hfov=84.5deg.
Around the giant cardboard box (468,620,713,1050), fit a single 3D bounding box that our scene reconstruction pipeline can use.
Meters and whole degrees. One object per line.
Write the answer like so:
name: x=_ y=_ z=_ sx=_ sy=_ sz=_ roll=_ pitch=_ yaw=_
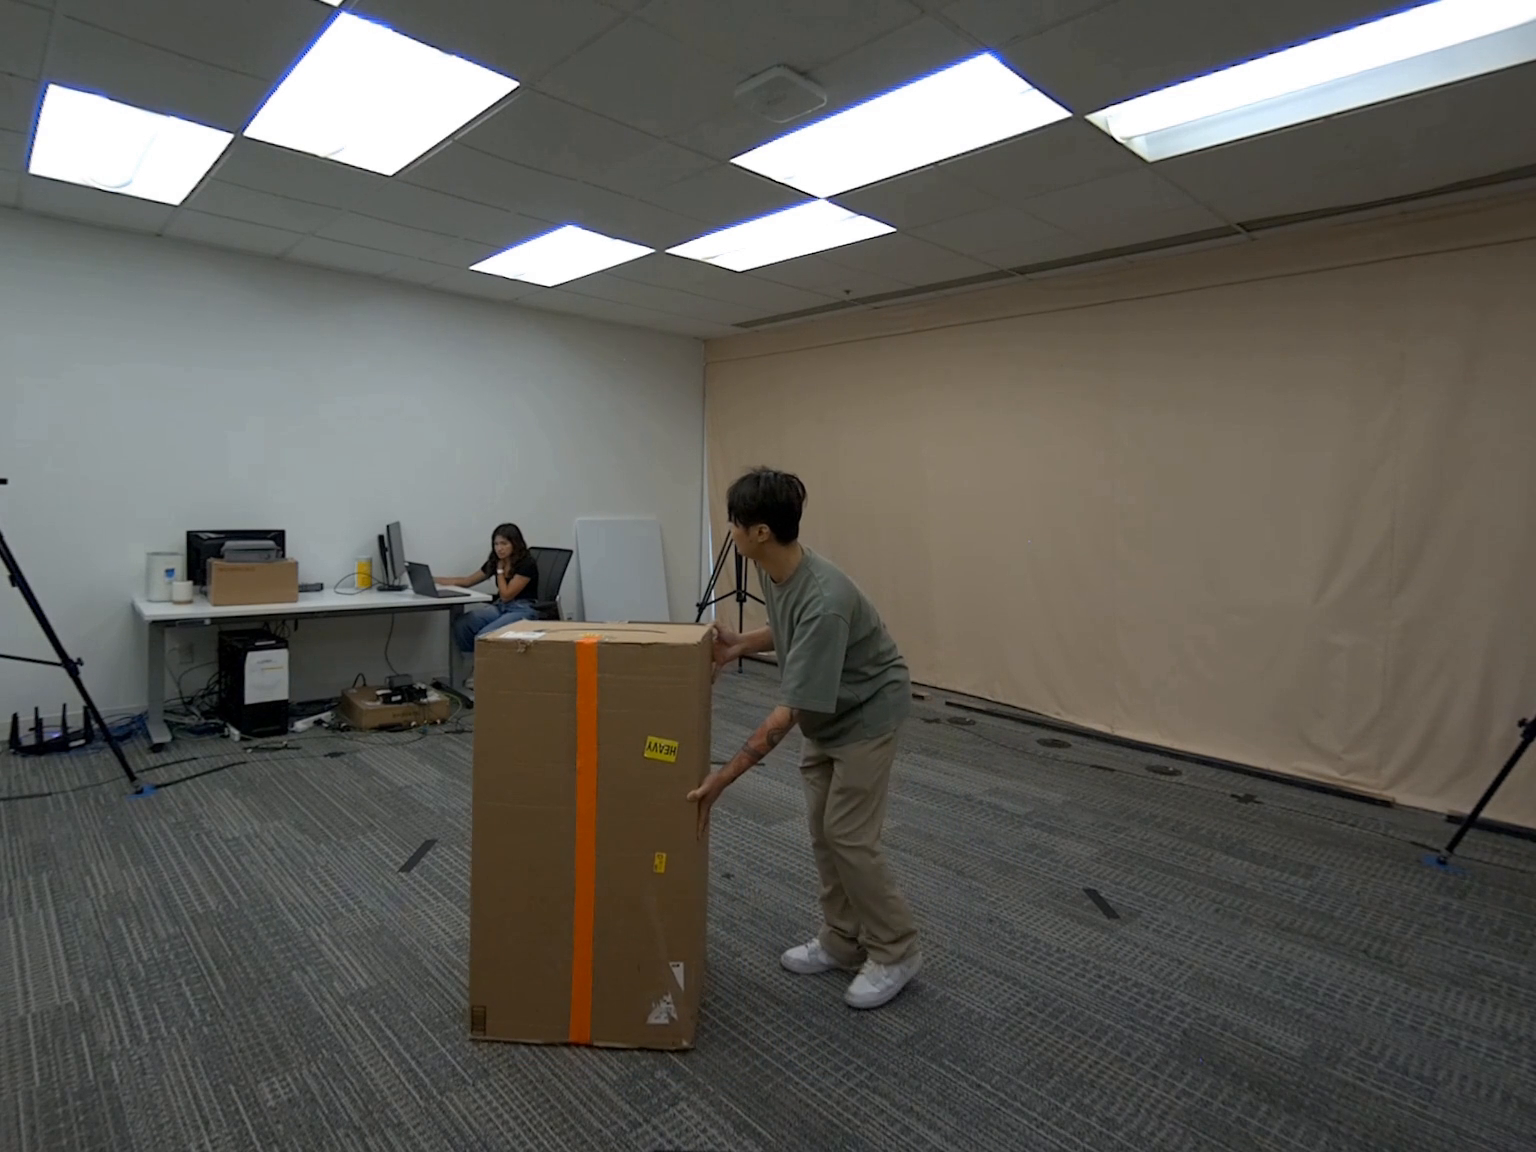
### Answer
giant cardboard box: x=-0.467 y=0.663 z=2.311 sx=0.579 sy=1.025 sz=0.425 roll=1 pitch=2 yaw=3
